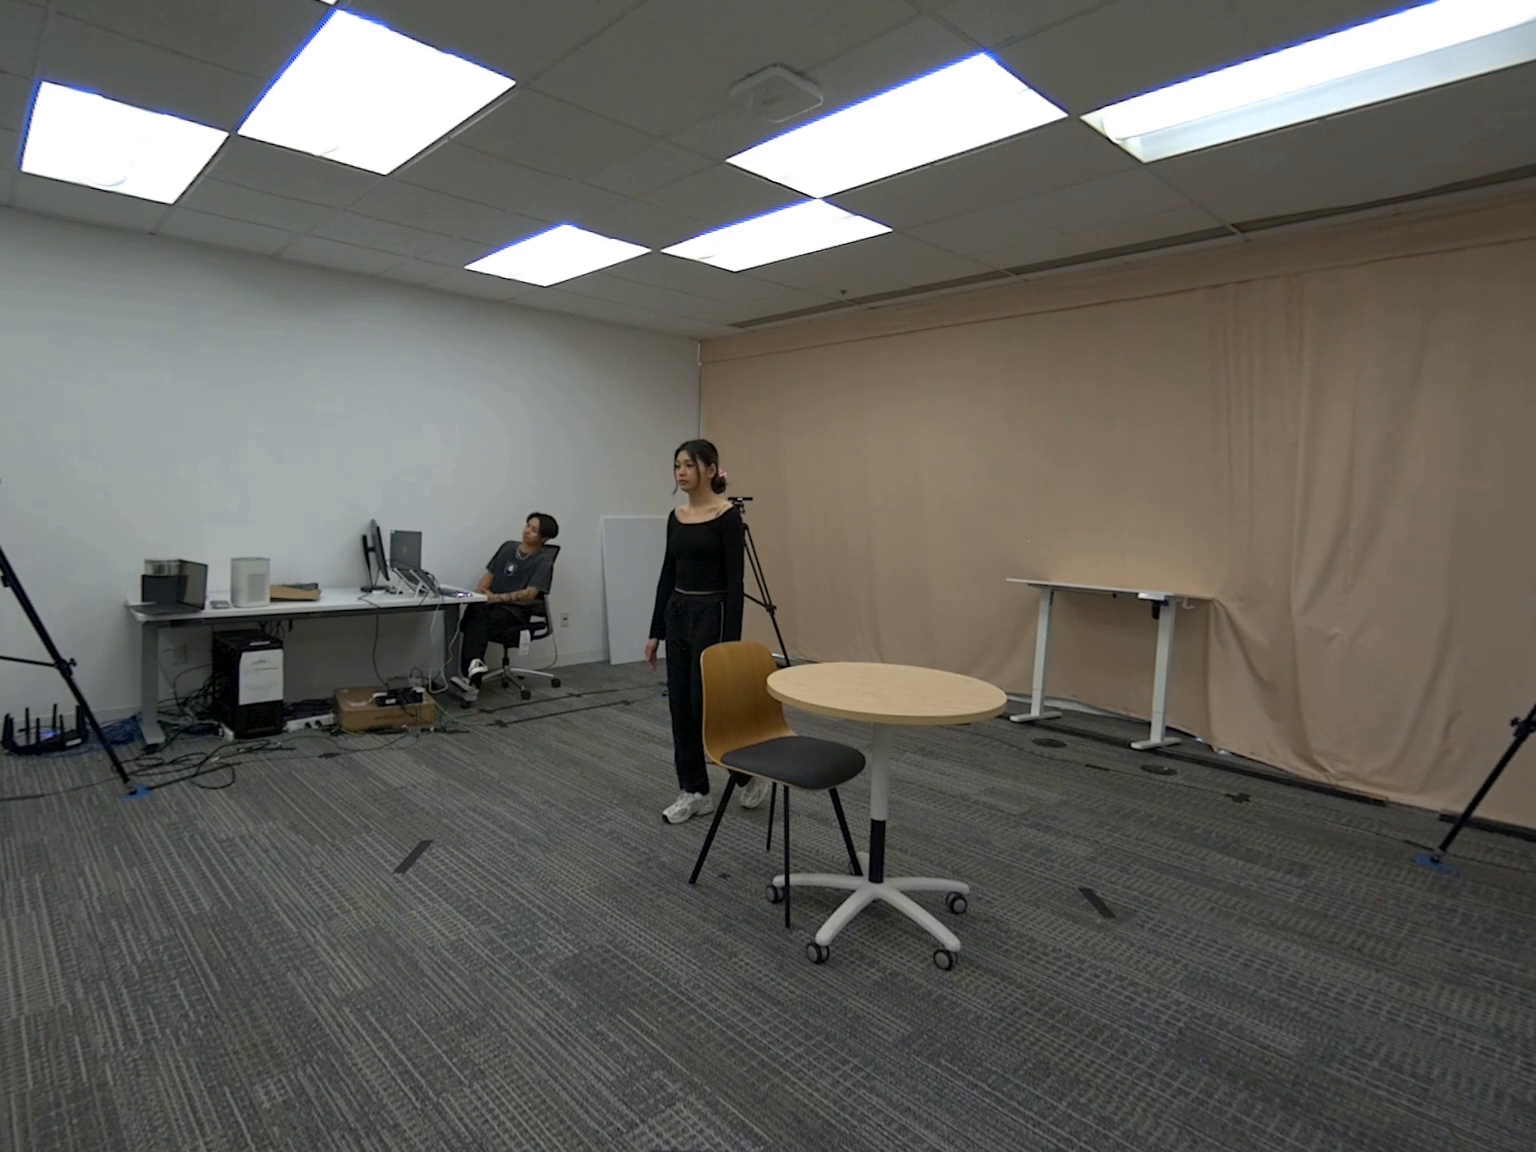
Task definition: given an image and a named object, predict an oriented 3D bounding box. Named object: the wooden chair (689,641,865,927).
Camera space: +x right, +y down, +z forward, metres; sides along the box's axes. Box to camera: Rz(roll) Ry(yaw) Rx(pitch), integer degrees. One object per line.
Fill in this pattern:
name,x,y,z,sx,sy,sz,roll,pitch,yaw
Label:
wooden chair,0.046,0.692,3.012,0.535,0.877,0.467,-1,0,41
